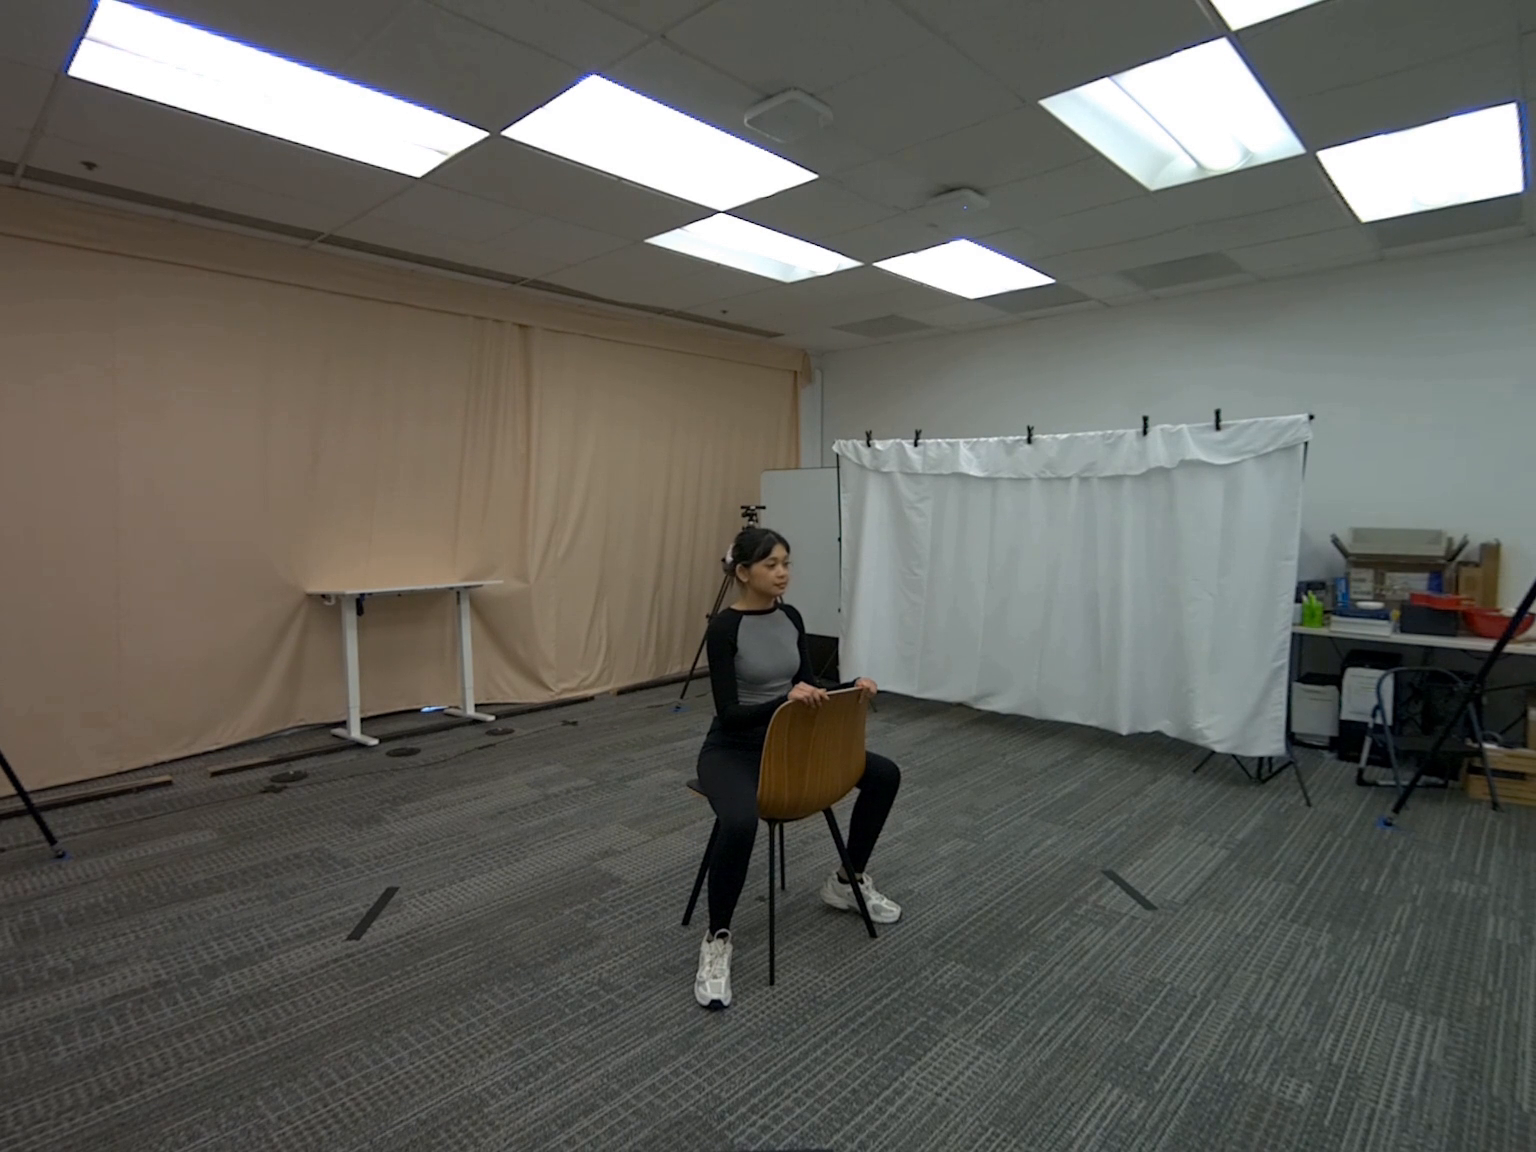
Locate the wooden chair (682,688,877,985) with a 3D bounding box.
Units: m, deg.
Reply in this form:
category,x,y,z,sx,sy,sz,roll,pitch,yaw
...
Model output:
category,x,y,z,sx,sy,sz,roll,pitch,yaw
wooden chair,0.028,0.738,2.736,0.463,0.874,0.541,-2,9,-39
